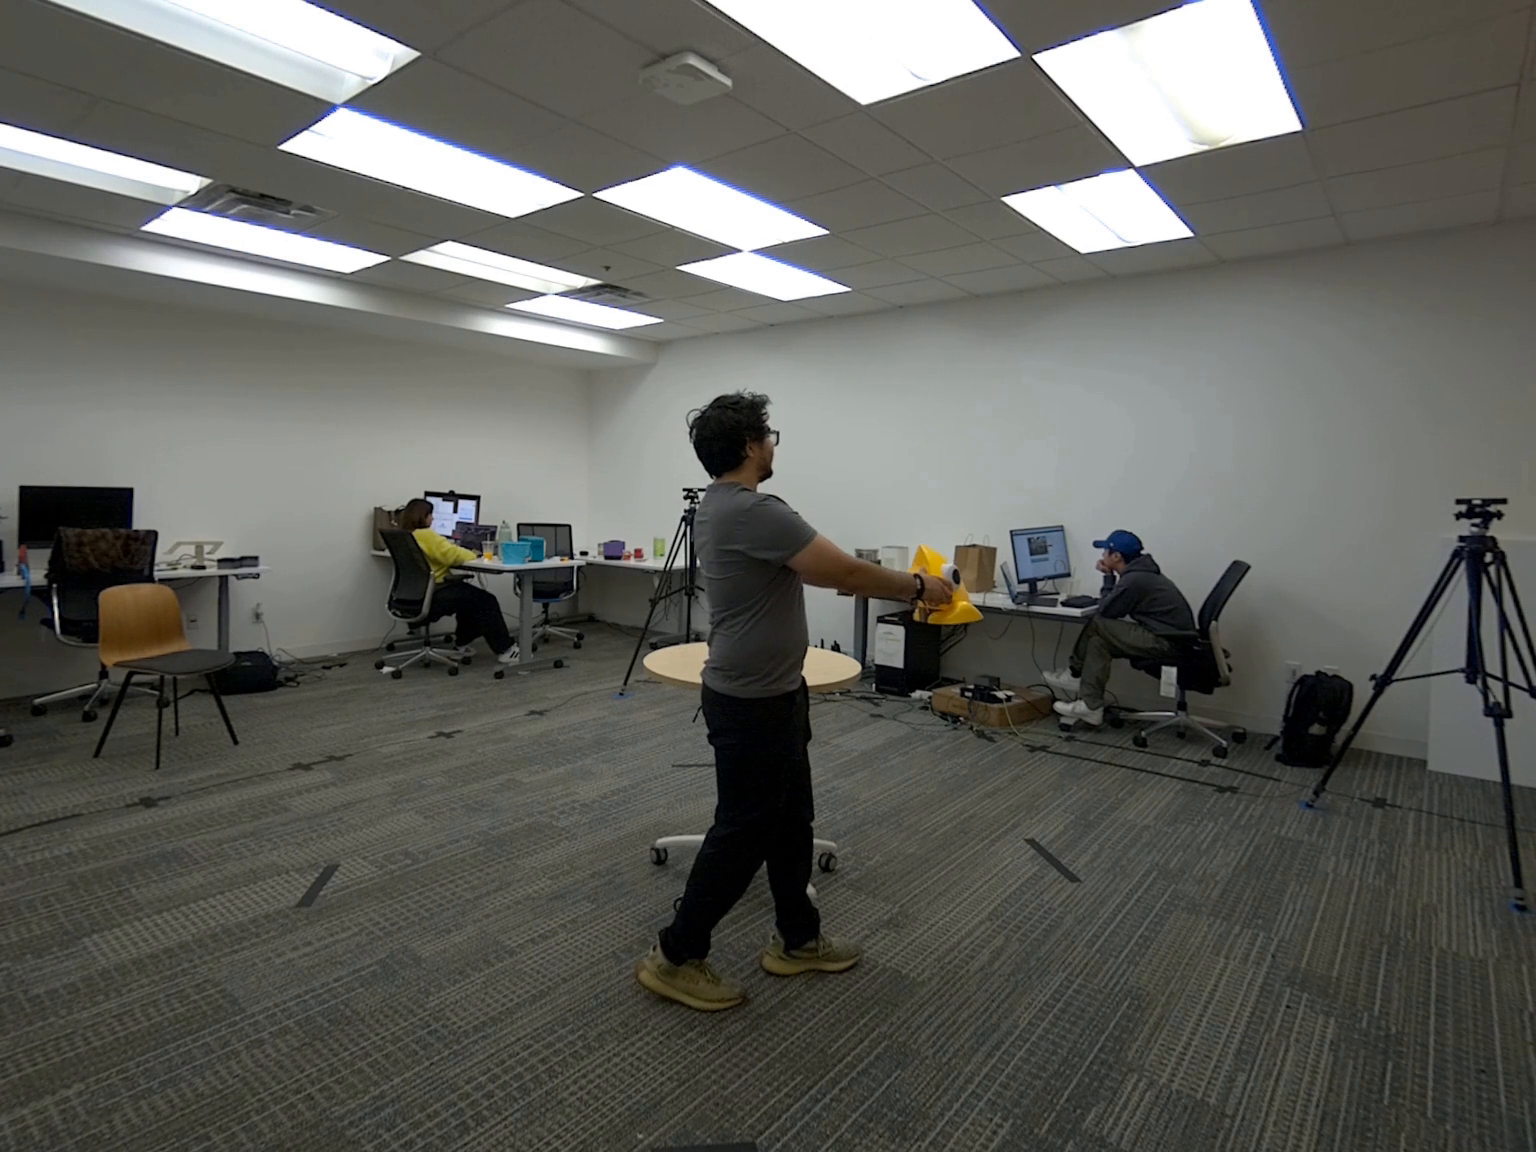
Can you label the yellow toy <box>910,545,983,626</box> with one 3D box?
[{"bbox_3d":[0.511,0.011,2.522,0.189,0.230,0.209,-6,3,-20],"label":"yellow toy"}]
